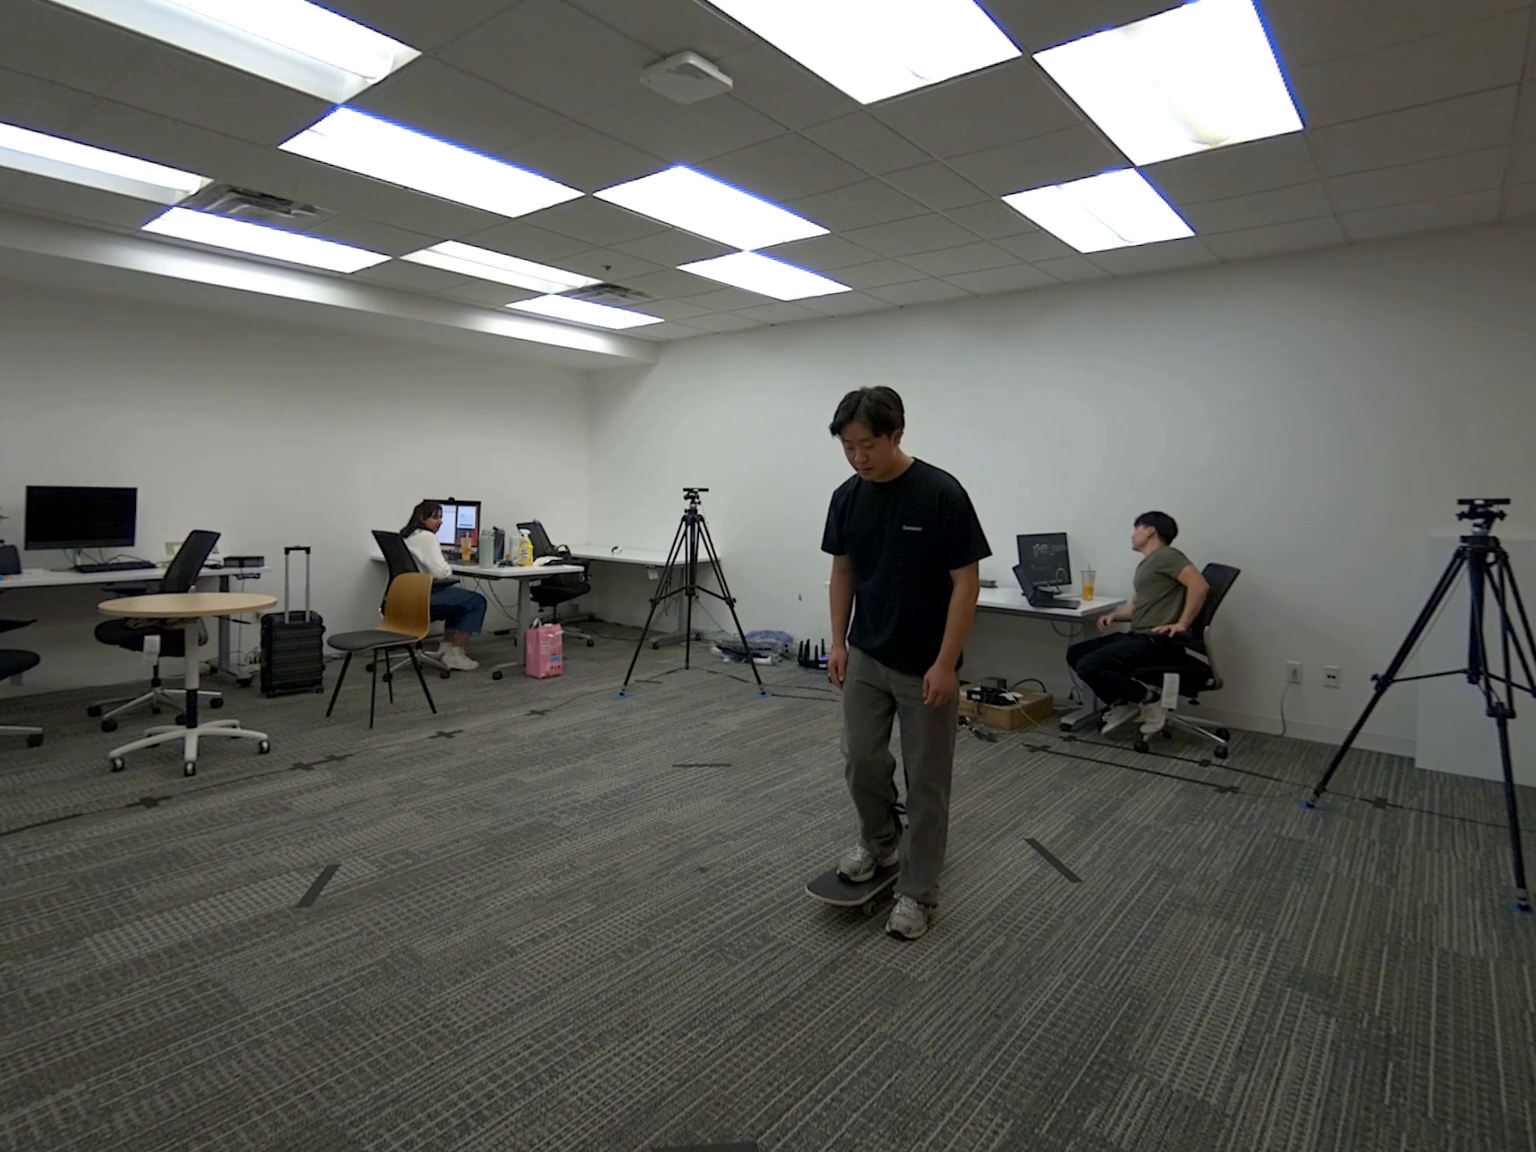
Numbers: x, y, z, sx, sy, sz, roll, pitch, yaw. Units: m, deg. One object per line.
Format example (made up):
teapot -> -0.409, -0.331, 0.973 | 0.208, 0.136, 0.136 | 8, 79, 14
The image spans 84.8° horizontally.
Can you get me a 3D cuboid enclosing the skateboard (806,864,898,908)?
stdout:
skateboard -> 0.371, 1.044, 2.996 | 0.200, 0.110, 0.763 | 5, 7, 36
